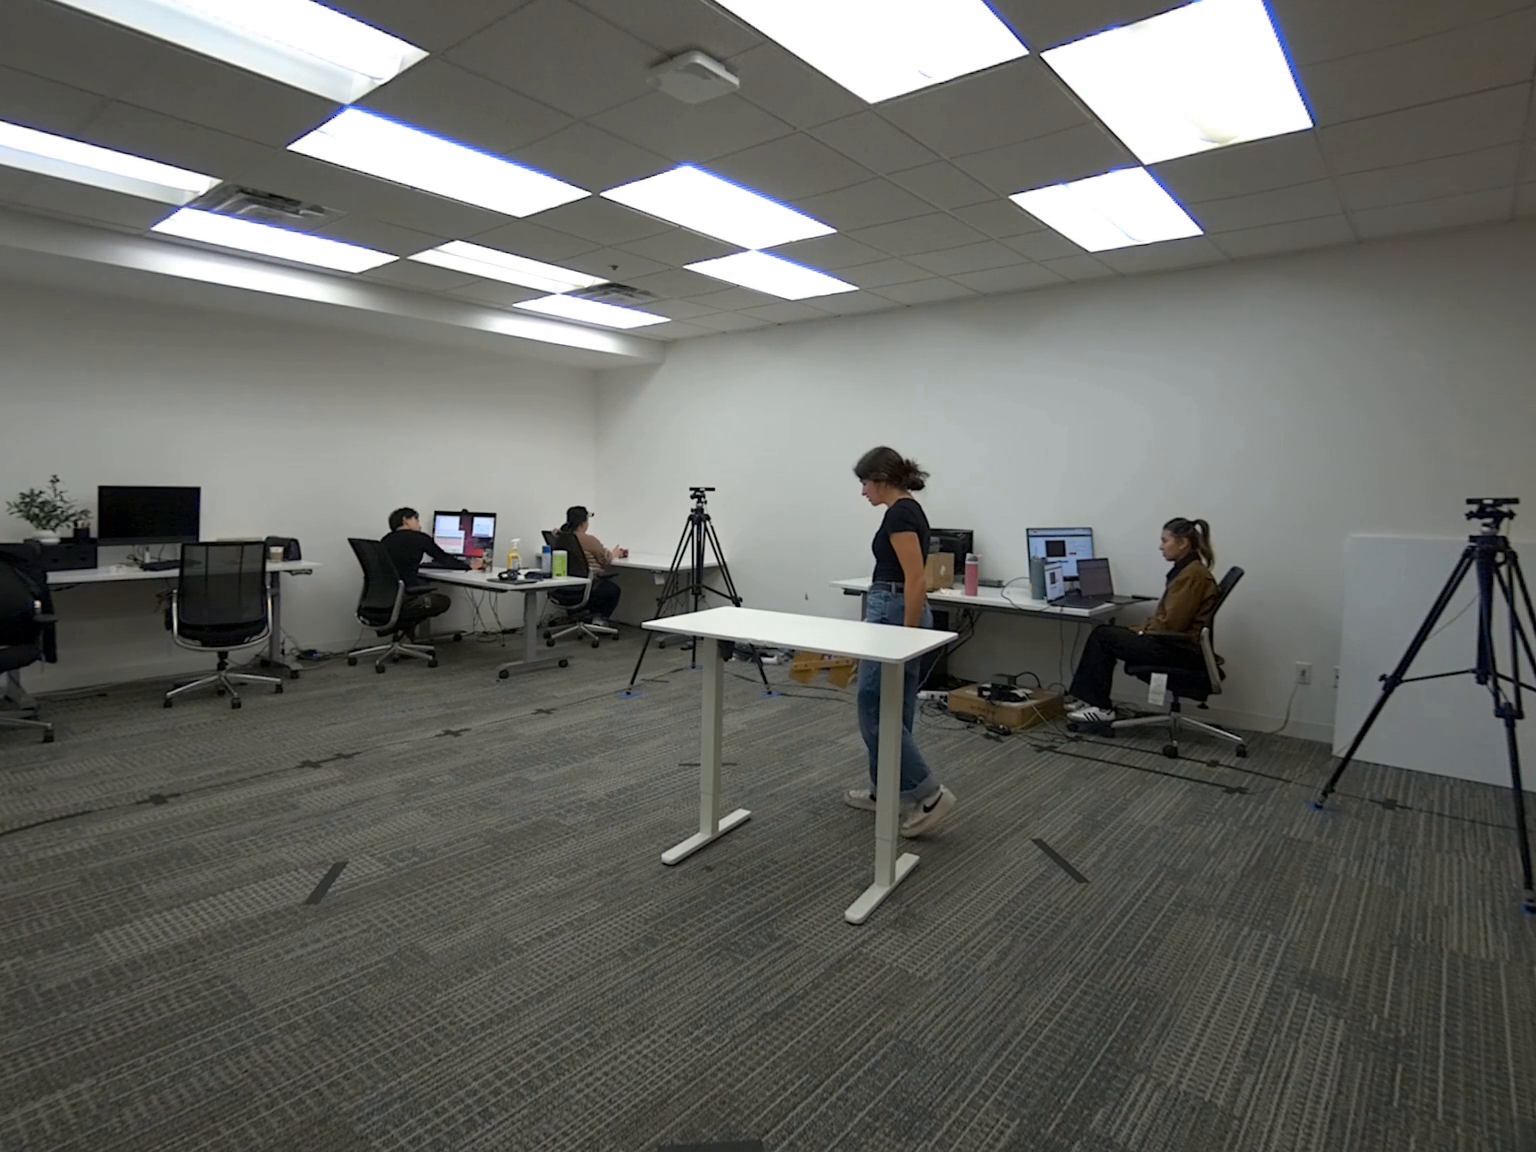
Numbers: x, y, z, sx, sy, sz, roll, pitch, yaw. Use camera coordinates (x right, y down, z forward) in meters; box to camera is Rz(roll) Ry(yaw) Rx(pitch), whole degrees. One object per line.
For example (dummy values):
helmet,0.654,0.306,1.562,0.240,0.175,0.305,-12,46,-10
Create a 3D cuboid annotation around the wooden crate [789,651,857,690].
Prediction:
wooden crate,0.270,0.356,3.963,0.279,0.301,0.319,22,7,13
